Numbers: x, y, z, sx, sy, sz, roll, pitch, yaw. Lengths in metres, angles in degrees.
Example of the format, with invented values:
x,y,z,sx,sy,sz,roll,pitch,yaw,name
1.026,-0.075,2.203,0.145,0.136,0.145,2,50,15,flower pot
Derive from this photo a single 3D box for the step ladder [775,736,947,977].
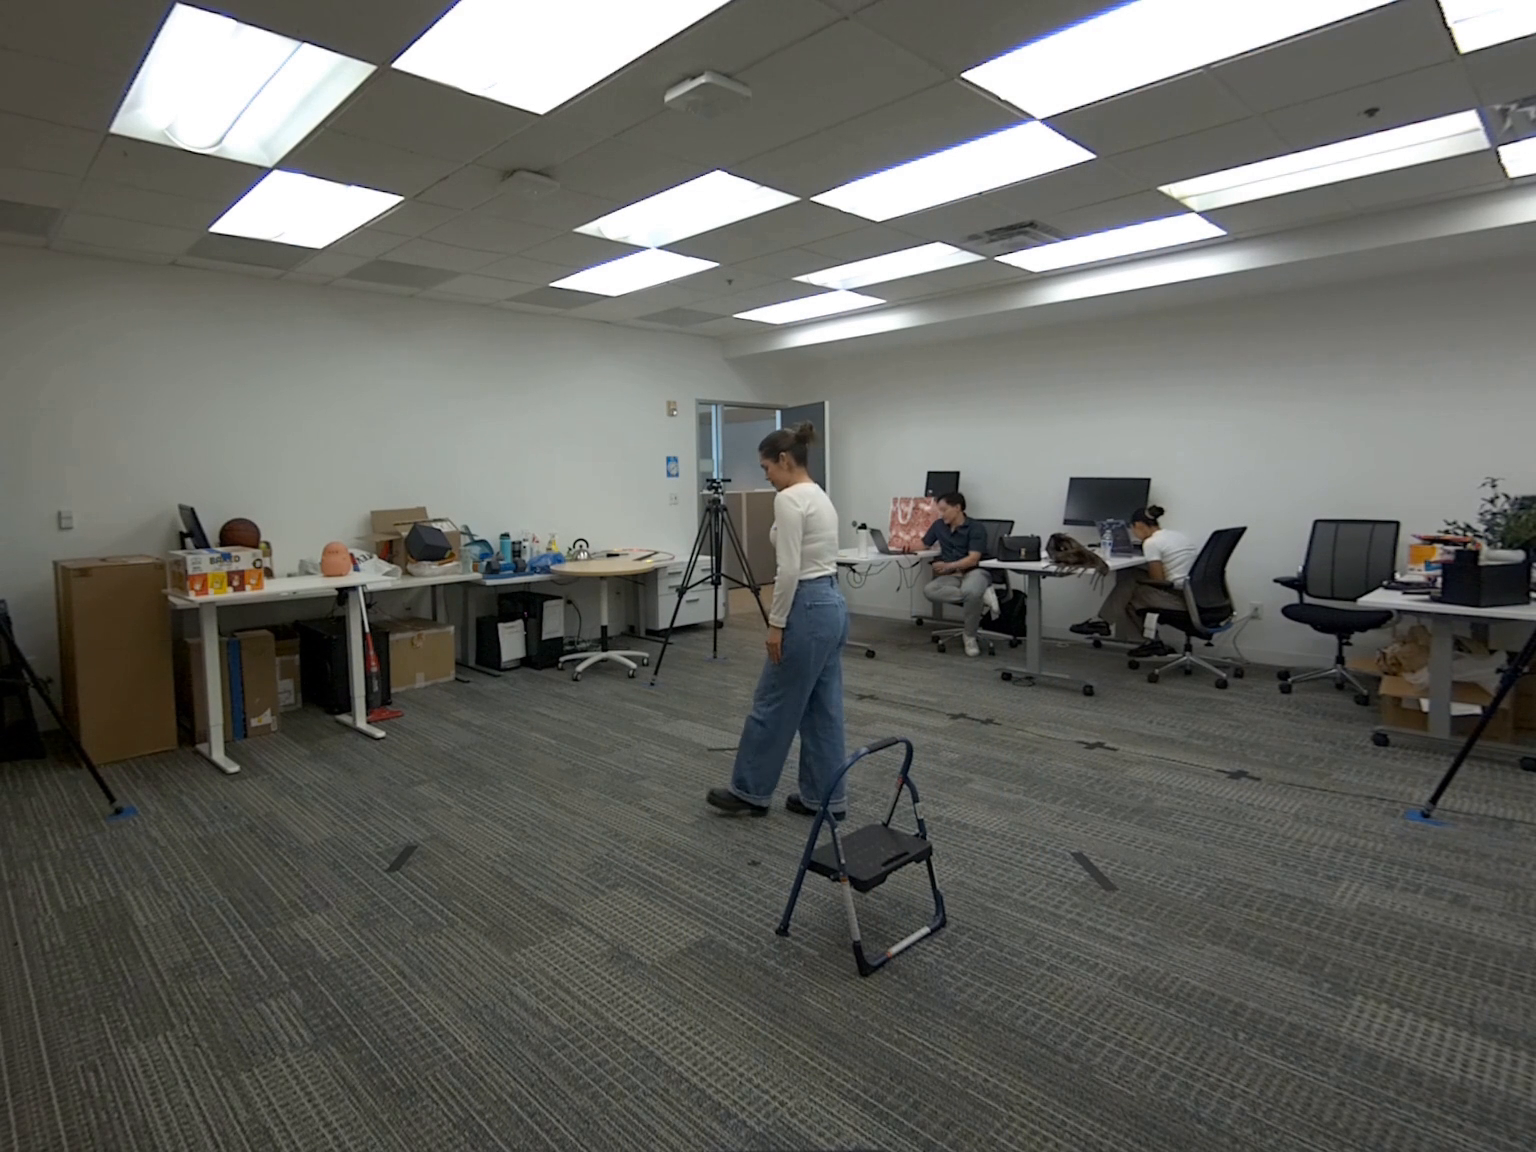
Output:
x,y,z,sx,sy,sz,roll,pitch,yaw,name
0.286,0.797,2.625,0.360,0.603,0.419,3,7,45,step ladder
